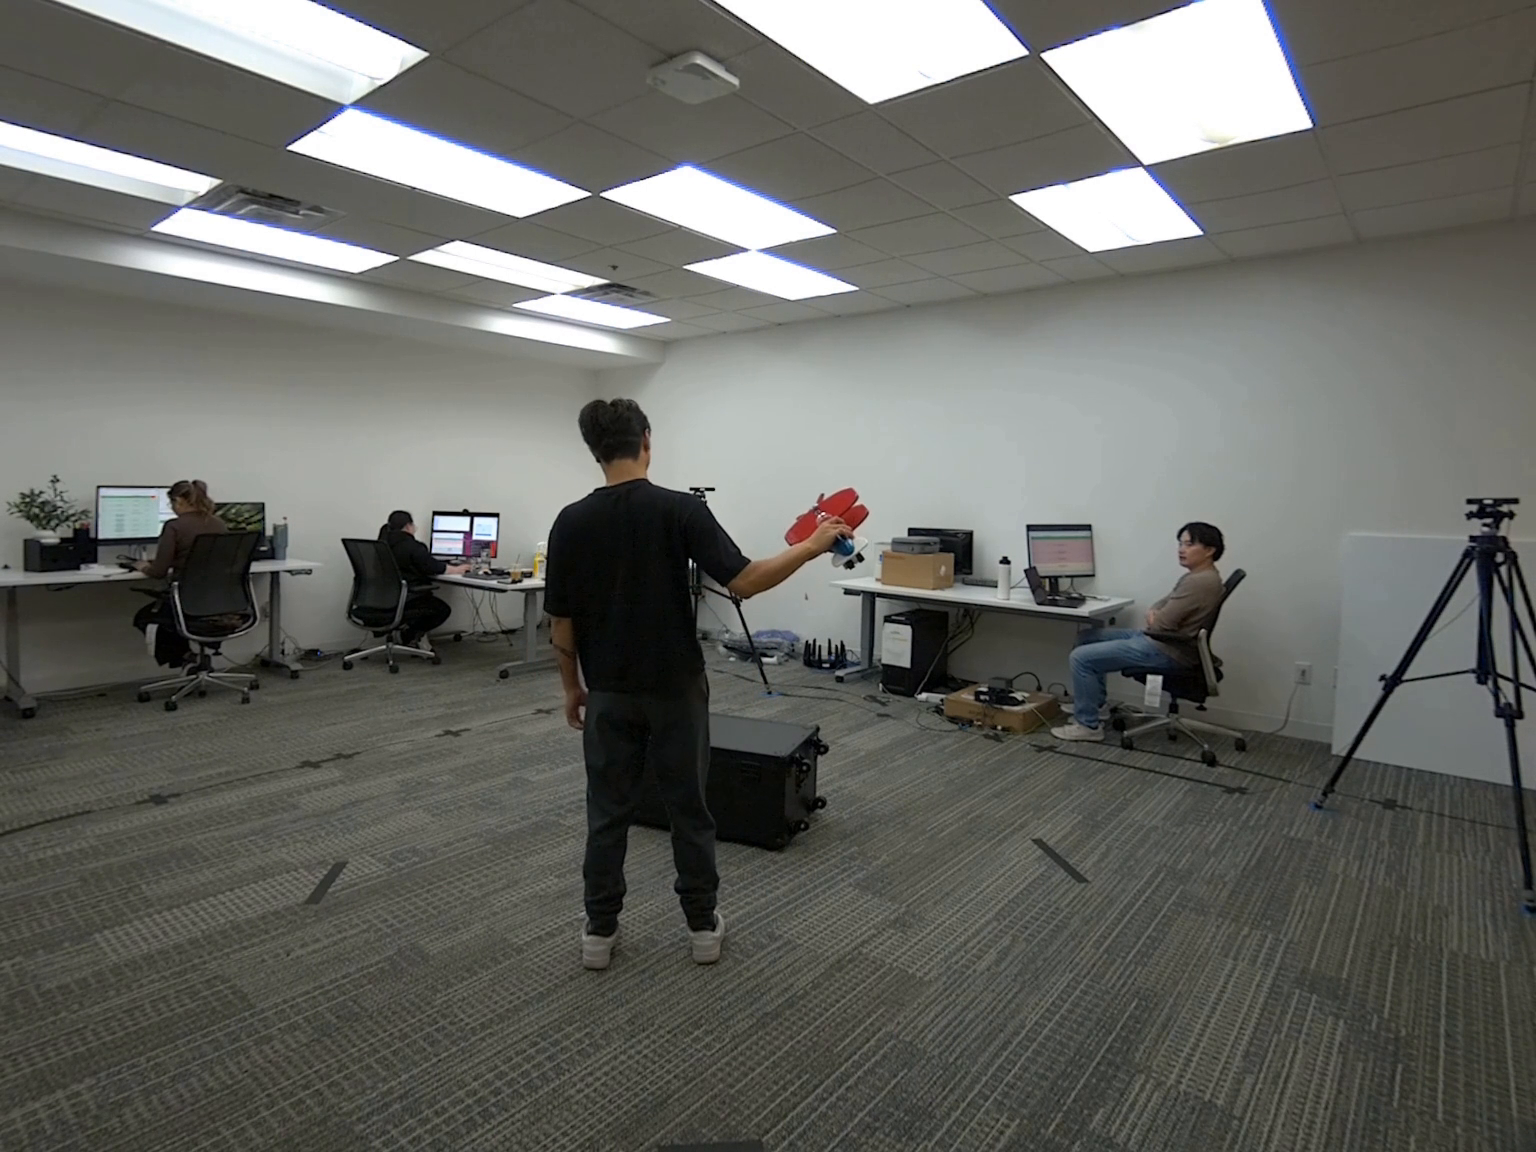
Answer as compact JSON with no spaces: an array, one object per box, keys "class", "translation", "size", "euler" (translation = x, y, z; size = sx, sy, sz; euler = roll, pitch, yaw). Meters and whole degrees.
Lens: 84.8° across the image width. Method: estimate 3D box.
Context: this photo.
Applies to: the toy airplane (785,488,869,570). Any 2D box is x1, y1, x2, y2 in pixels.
[{"class":"toy airplane","translation":[0.203,-0.139,2.549],"size":[0.251,0.151,0.267],"euler":[-50,28,-21]}]
